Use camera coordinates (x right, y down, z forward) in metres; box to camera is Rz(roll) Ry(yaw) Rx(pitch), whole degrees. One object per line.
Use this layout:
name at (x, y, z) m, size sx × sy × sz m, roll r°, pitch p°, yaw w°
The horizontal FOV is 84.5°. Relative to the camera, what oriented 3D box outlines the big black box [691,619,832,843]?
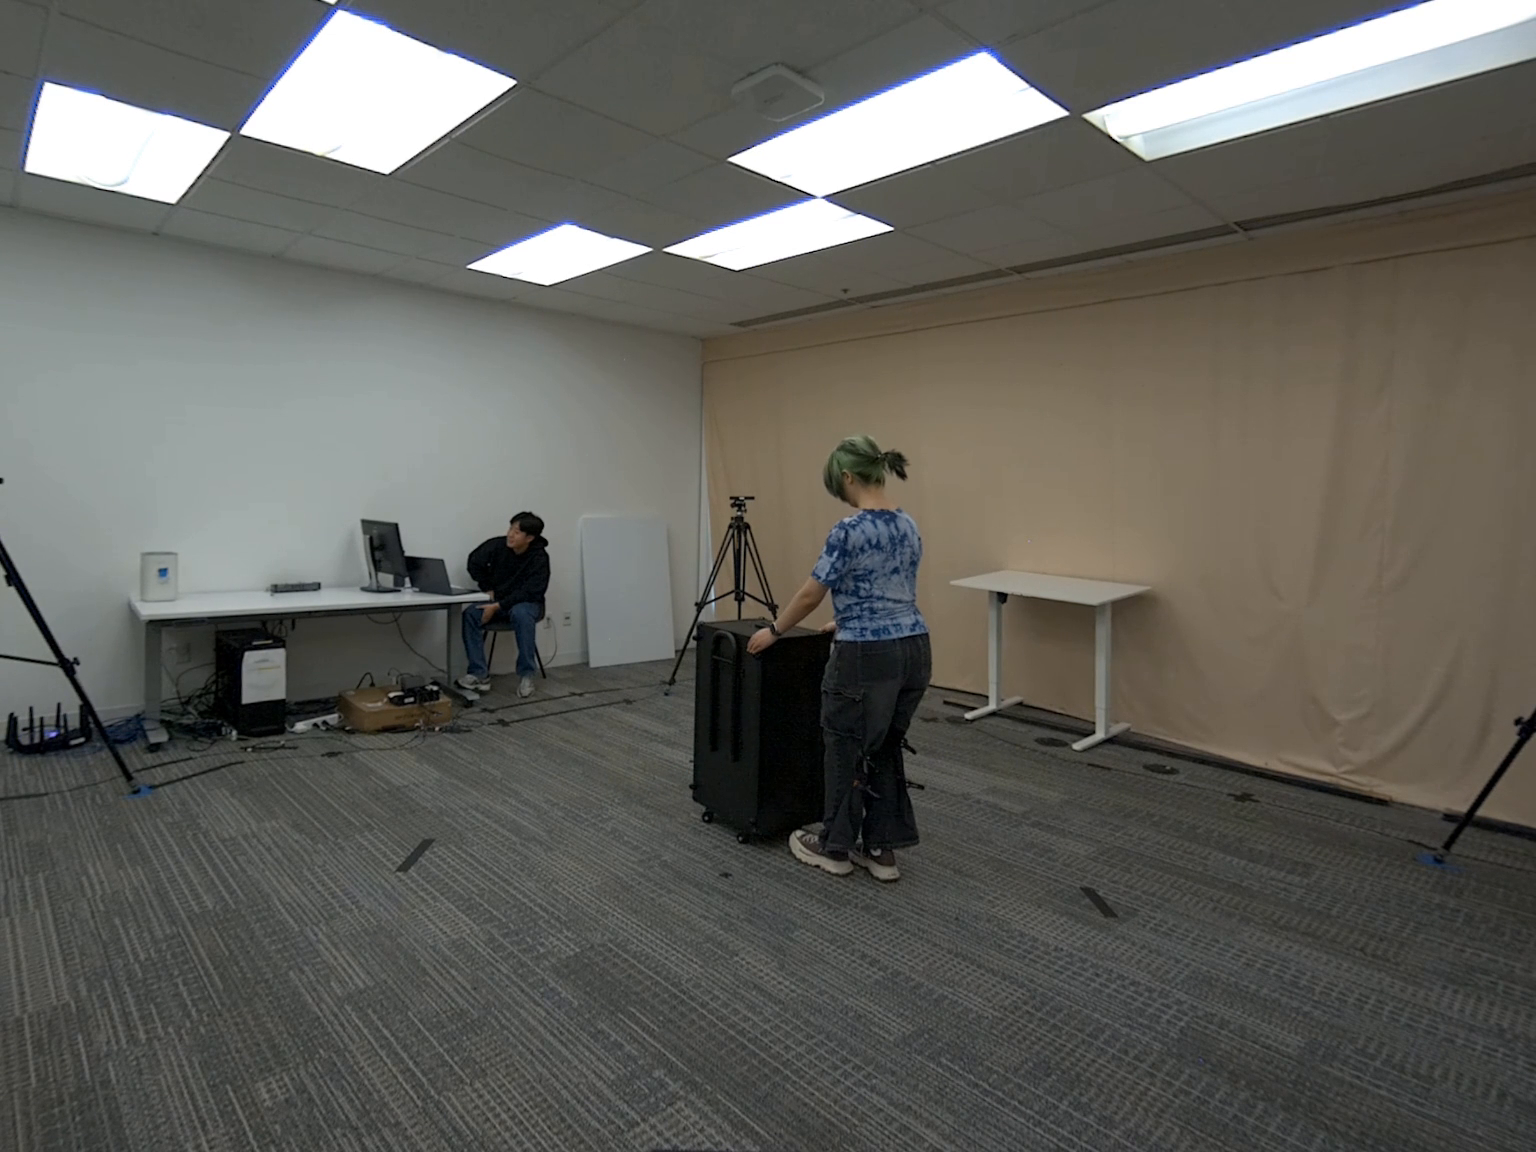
big black box at (-0.052, 0.643, 3.549) m, size 0.387 × 0.859 × 0.534 m, roll -1°, pitch 5°, yaw -36°
